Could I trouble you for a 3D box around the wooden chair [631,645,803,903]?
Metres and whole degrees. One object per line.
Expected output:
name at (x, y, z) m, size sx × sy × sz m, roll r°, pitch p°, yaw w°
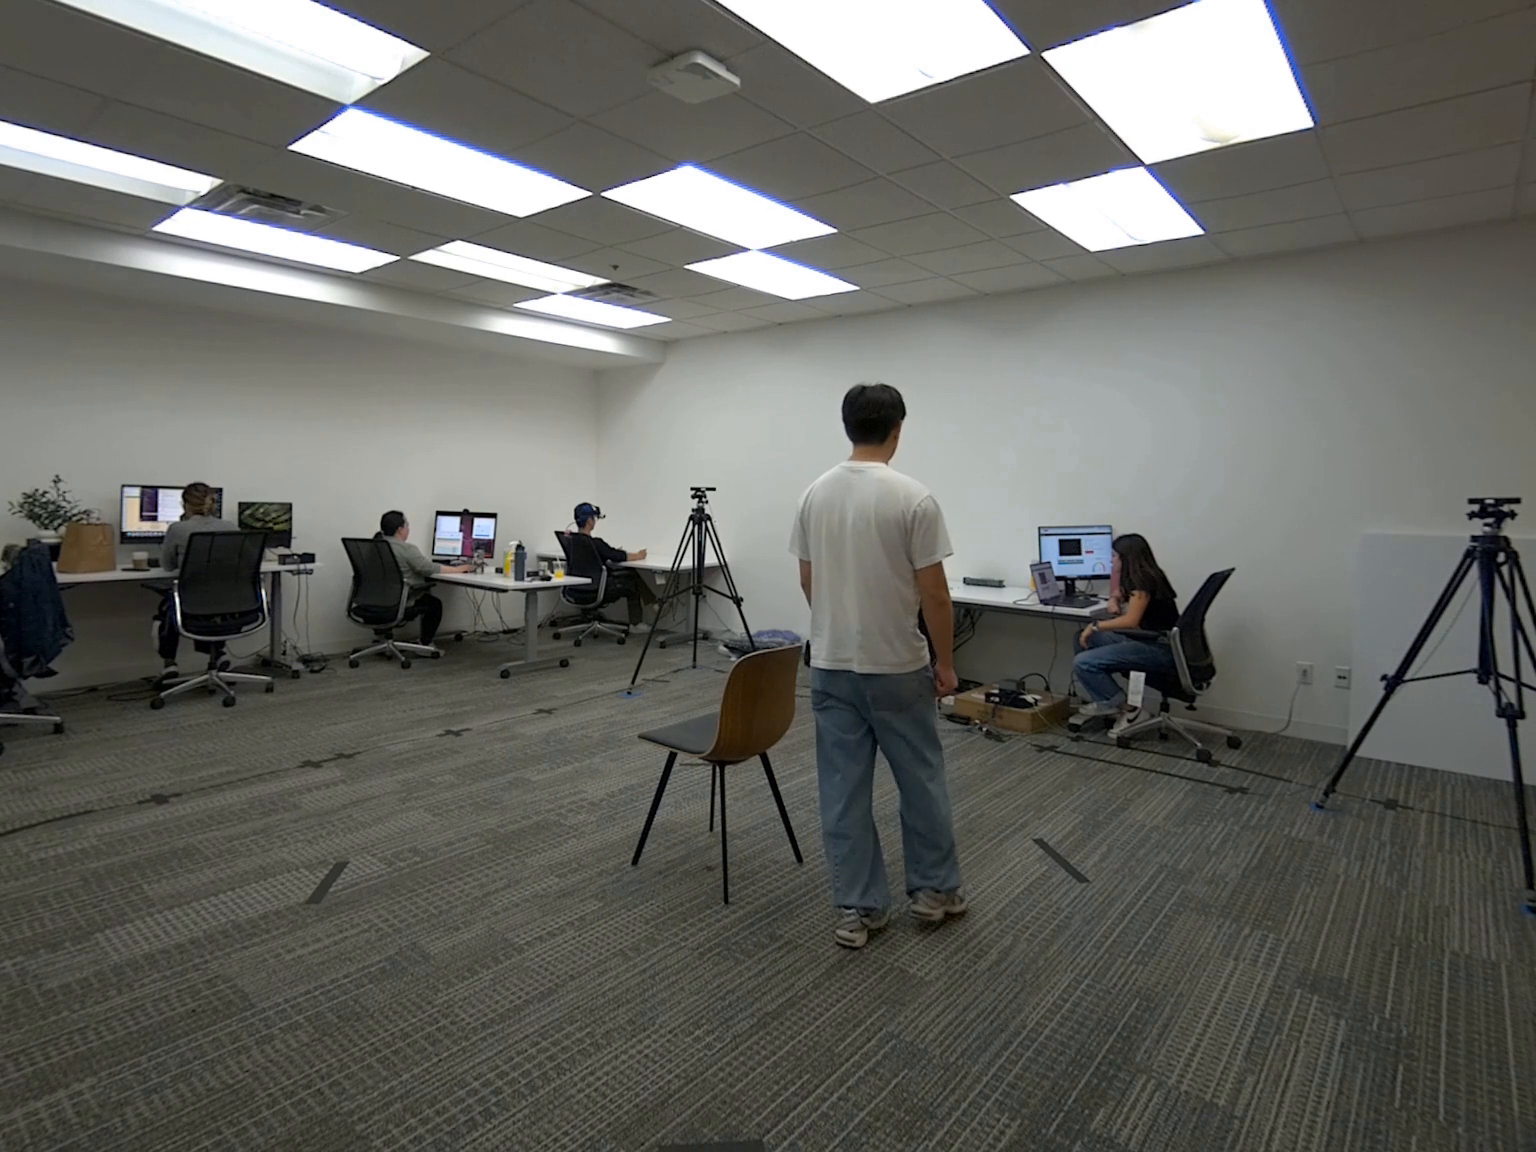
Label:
wooden chair at (-0.194, 0.638, 3.131) m, size 0.542 × 0.873 × 0.464 m, roll 9°, pitch 7°, yaw 38°
